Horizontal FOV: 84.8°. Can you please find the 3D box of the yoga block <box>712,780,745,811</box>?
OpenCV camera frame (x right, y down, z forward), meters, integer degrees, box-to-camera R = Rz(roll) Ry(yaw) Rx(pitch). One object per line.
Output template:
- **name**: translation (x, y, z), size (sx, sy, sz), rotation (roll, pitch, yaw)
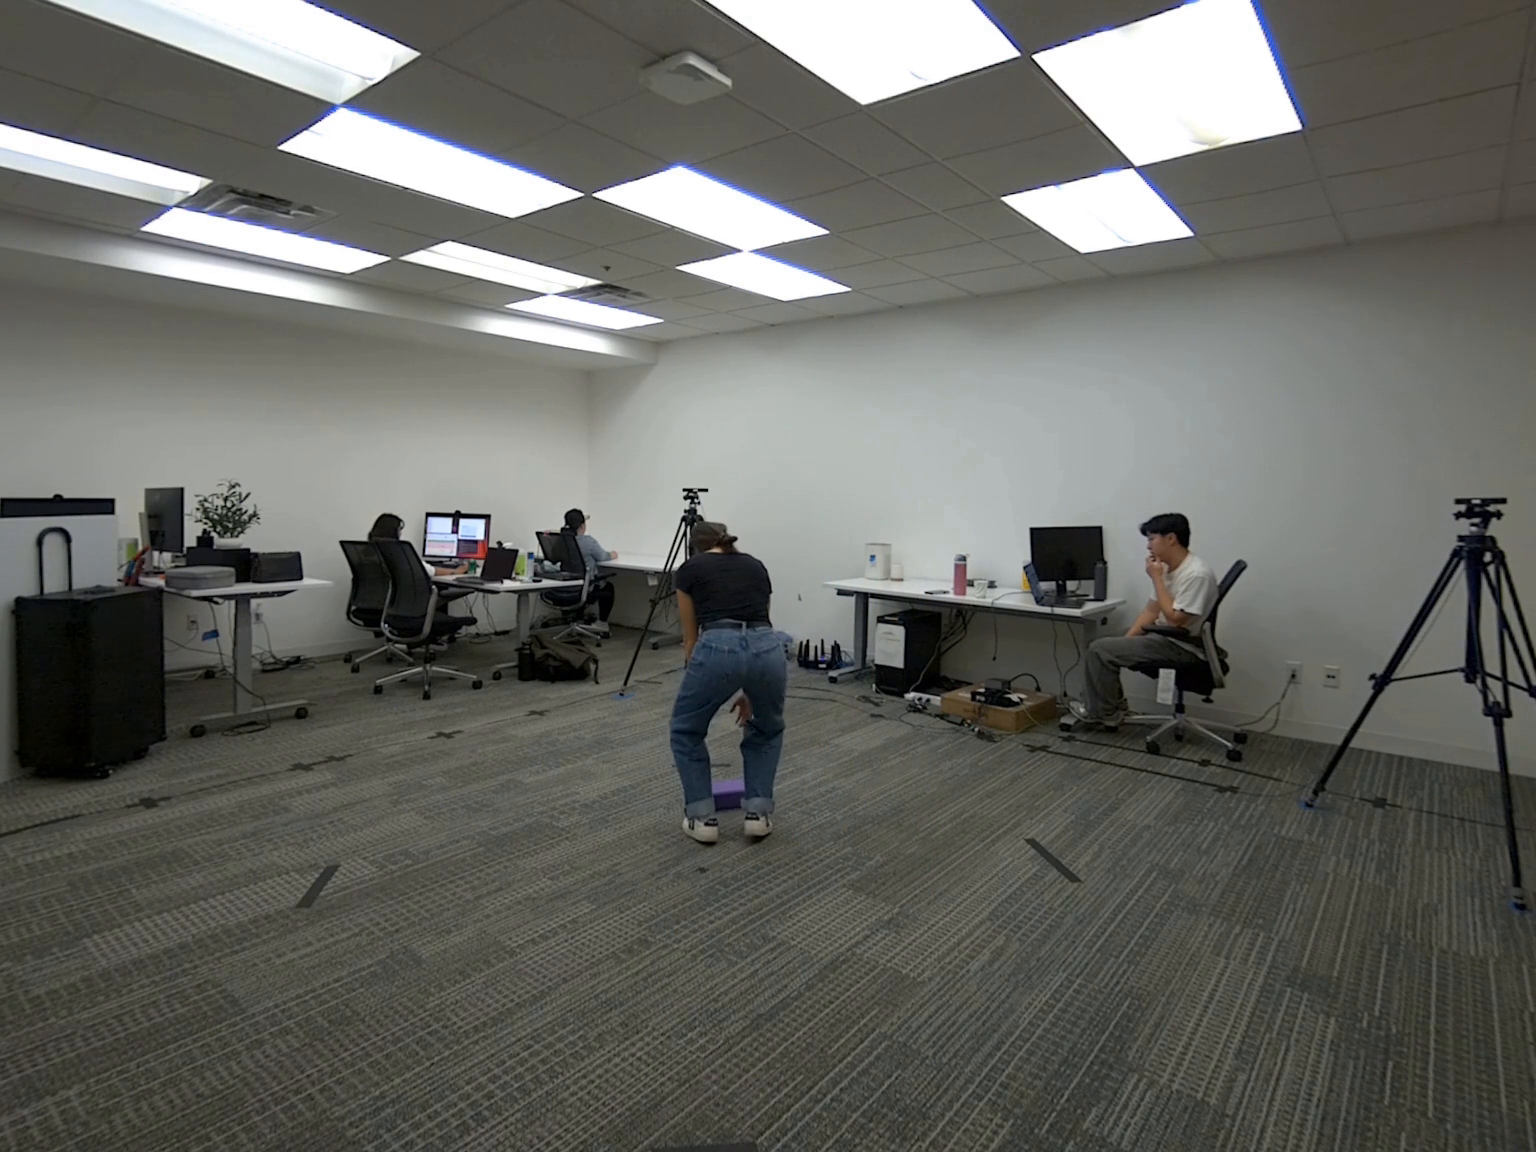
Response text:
- **yoga block**: translation (-0.175, 0.959, 3.776), size (0.225, 0.076, 0.152), rotation (-2, 5, -21)
